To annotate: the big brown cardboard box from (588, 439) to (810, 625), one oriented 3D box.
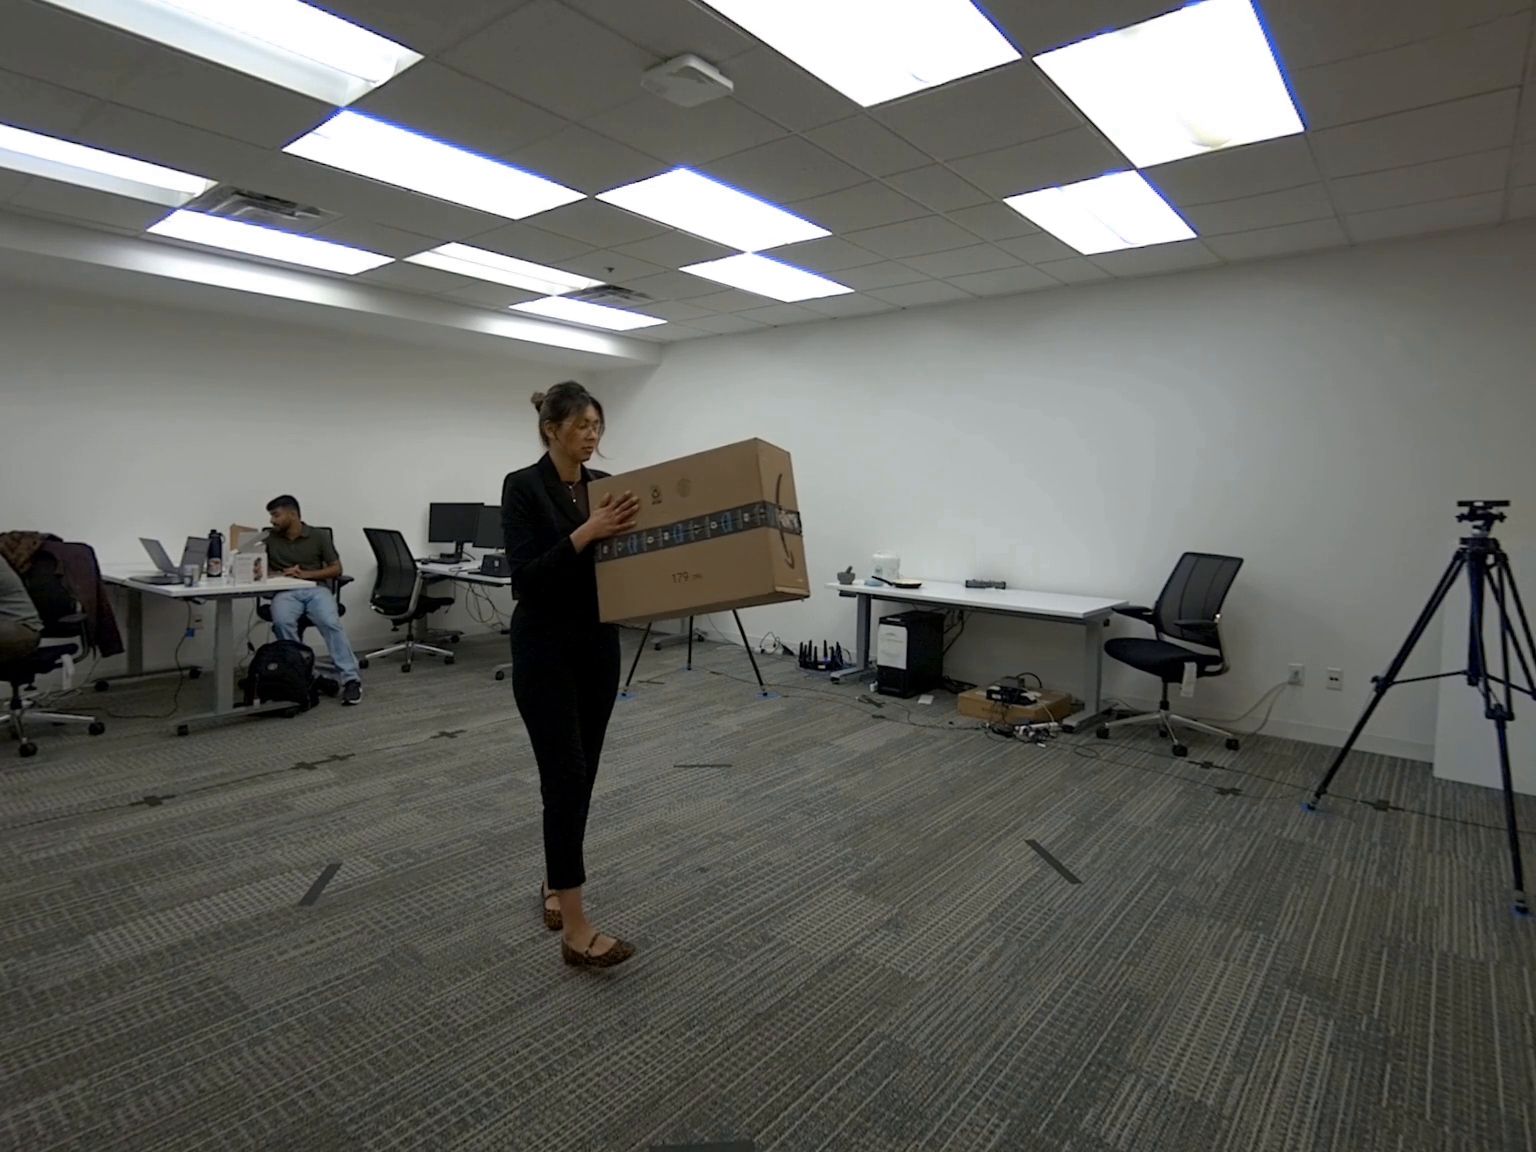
[{"bbox_3d":[-0.214,-0.113,2.400,0.601,0.422,0.226,-10,-11,27],"label":"big brown cardboard box"}]
